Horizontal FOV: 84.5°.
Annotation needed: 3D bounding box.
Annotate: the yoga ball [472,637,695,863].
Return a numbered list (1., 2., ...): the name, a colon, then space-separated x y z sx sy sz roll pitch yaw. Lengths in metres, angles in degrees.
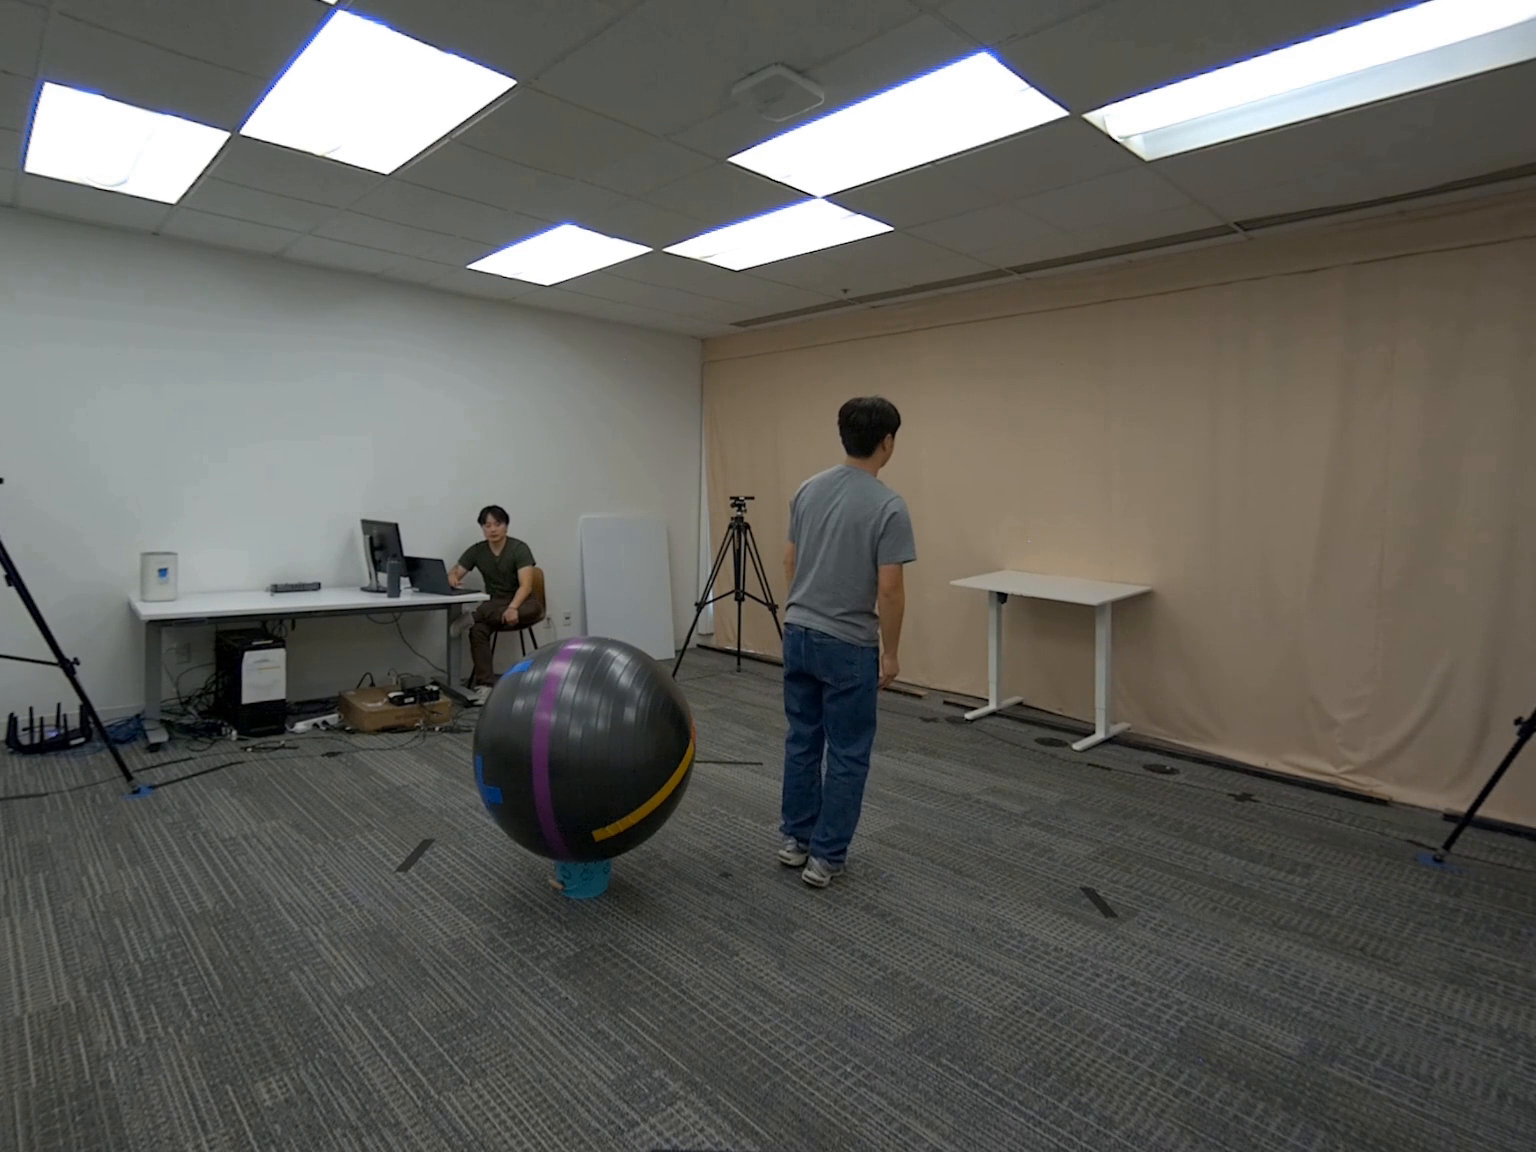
1. yoga ball: -0.653 0.603 2.922 0.757 0.756 0.761 1 4 -1
